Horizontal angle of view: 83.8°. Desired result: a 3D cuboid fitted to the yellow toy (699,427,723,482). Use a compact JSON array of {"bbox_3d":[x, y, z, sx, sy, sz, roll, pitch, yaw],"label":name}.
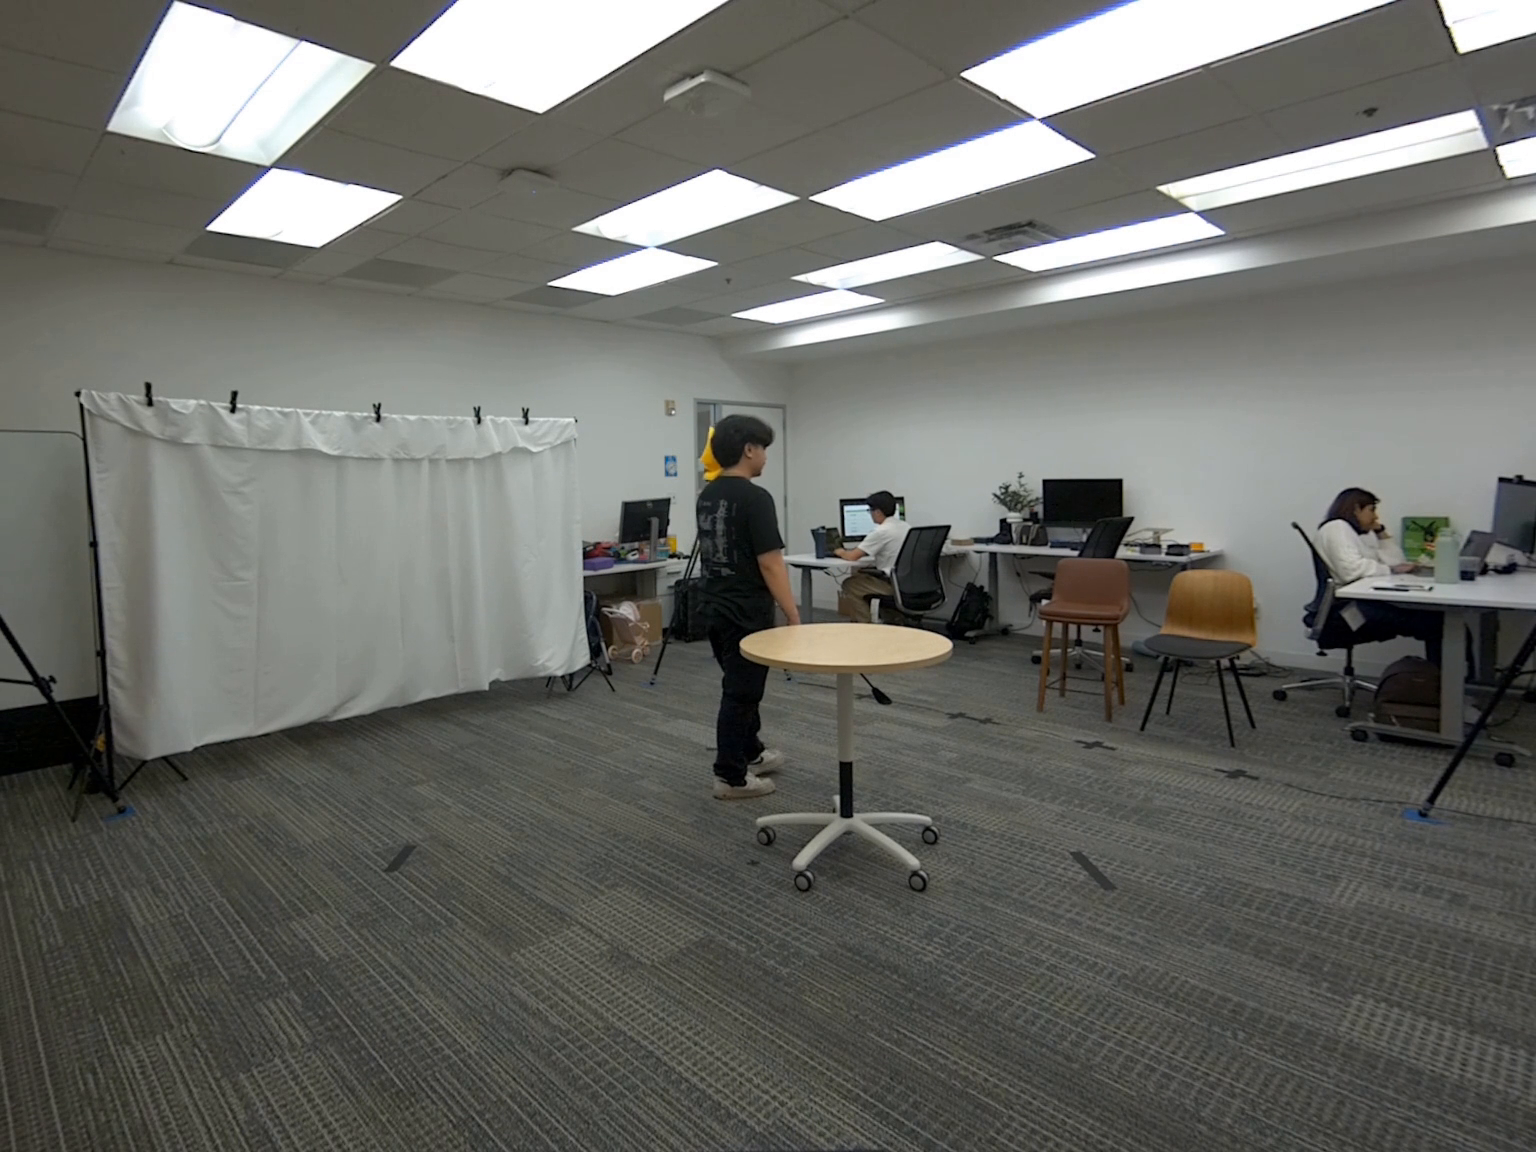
[{"bbox_3d":[-0.203,-0.548,3.841,0.192,0.229,0.207,7,8,-3],"label":"yellow toy"}]
